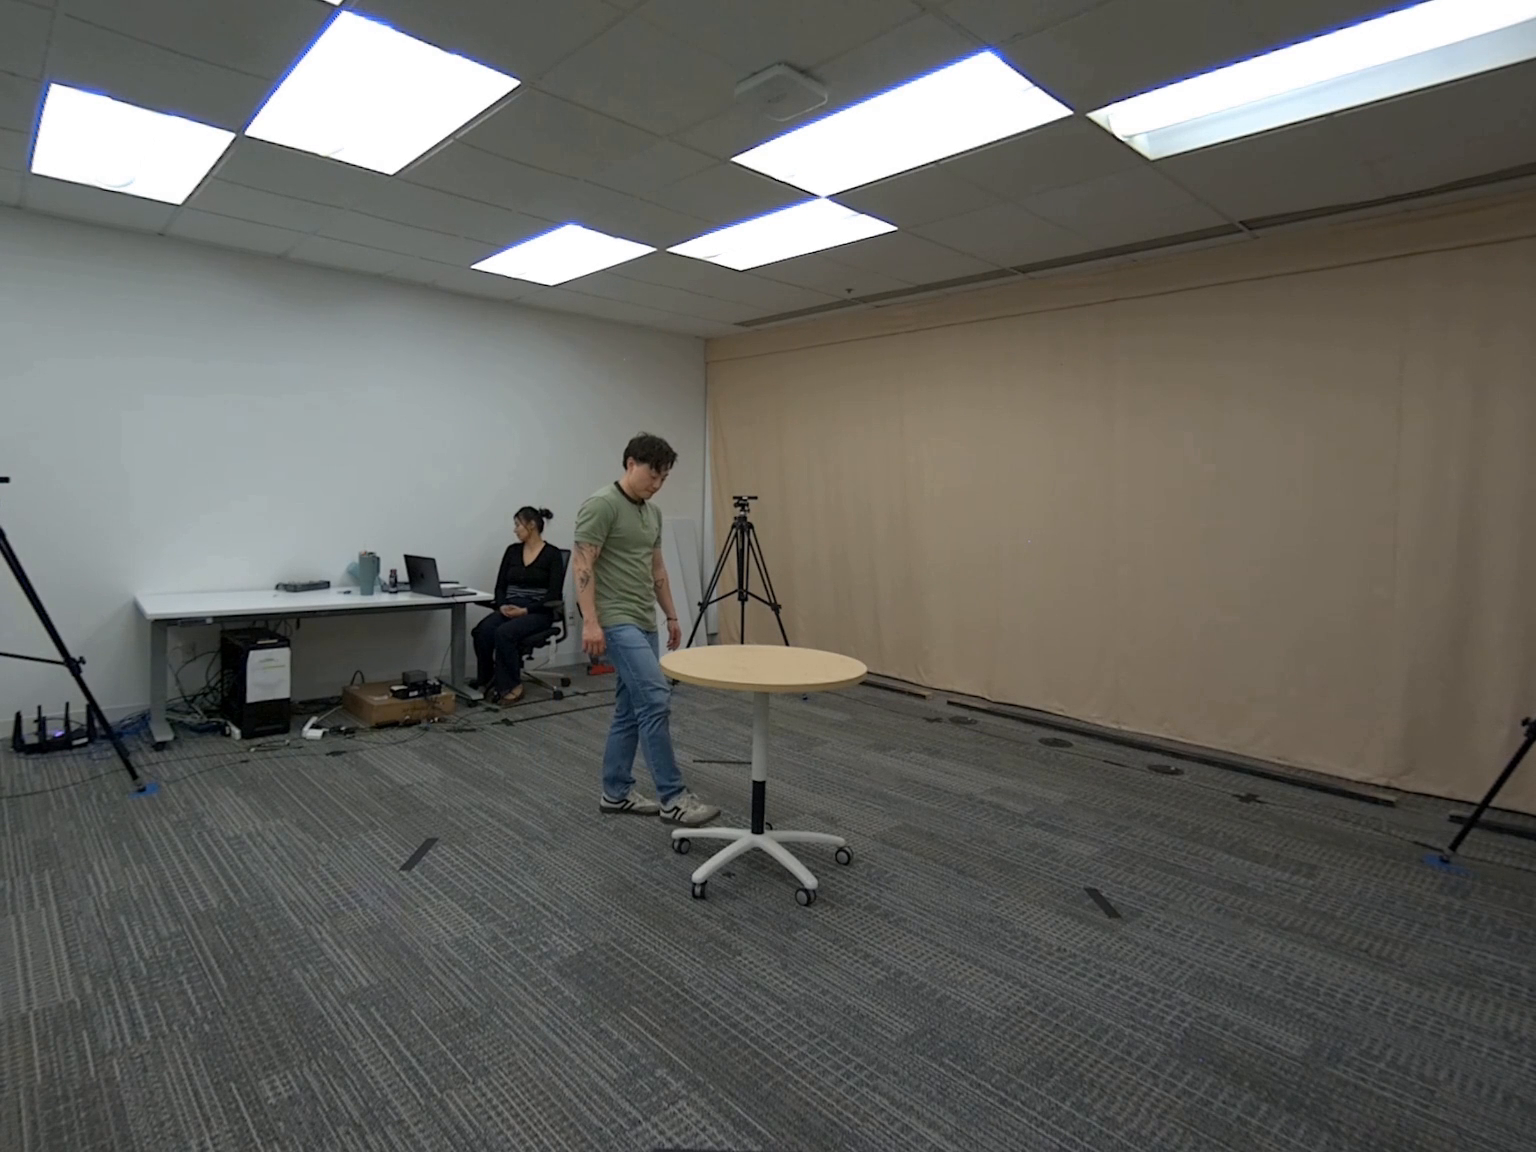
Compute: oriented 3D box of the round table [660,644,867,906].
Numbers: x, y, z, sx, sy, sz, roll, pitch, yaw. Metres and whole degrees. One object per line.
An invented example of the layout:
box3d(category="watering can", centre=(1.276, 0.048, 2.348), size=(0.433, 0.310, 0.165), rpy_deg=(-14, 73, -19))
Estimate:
box3d(category="round table", centre=(-0.038, 0.715, 3.129), size=(0.763, 0.792, 0.766), rpy_deg=(1, 4, -1))
